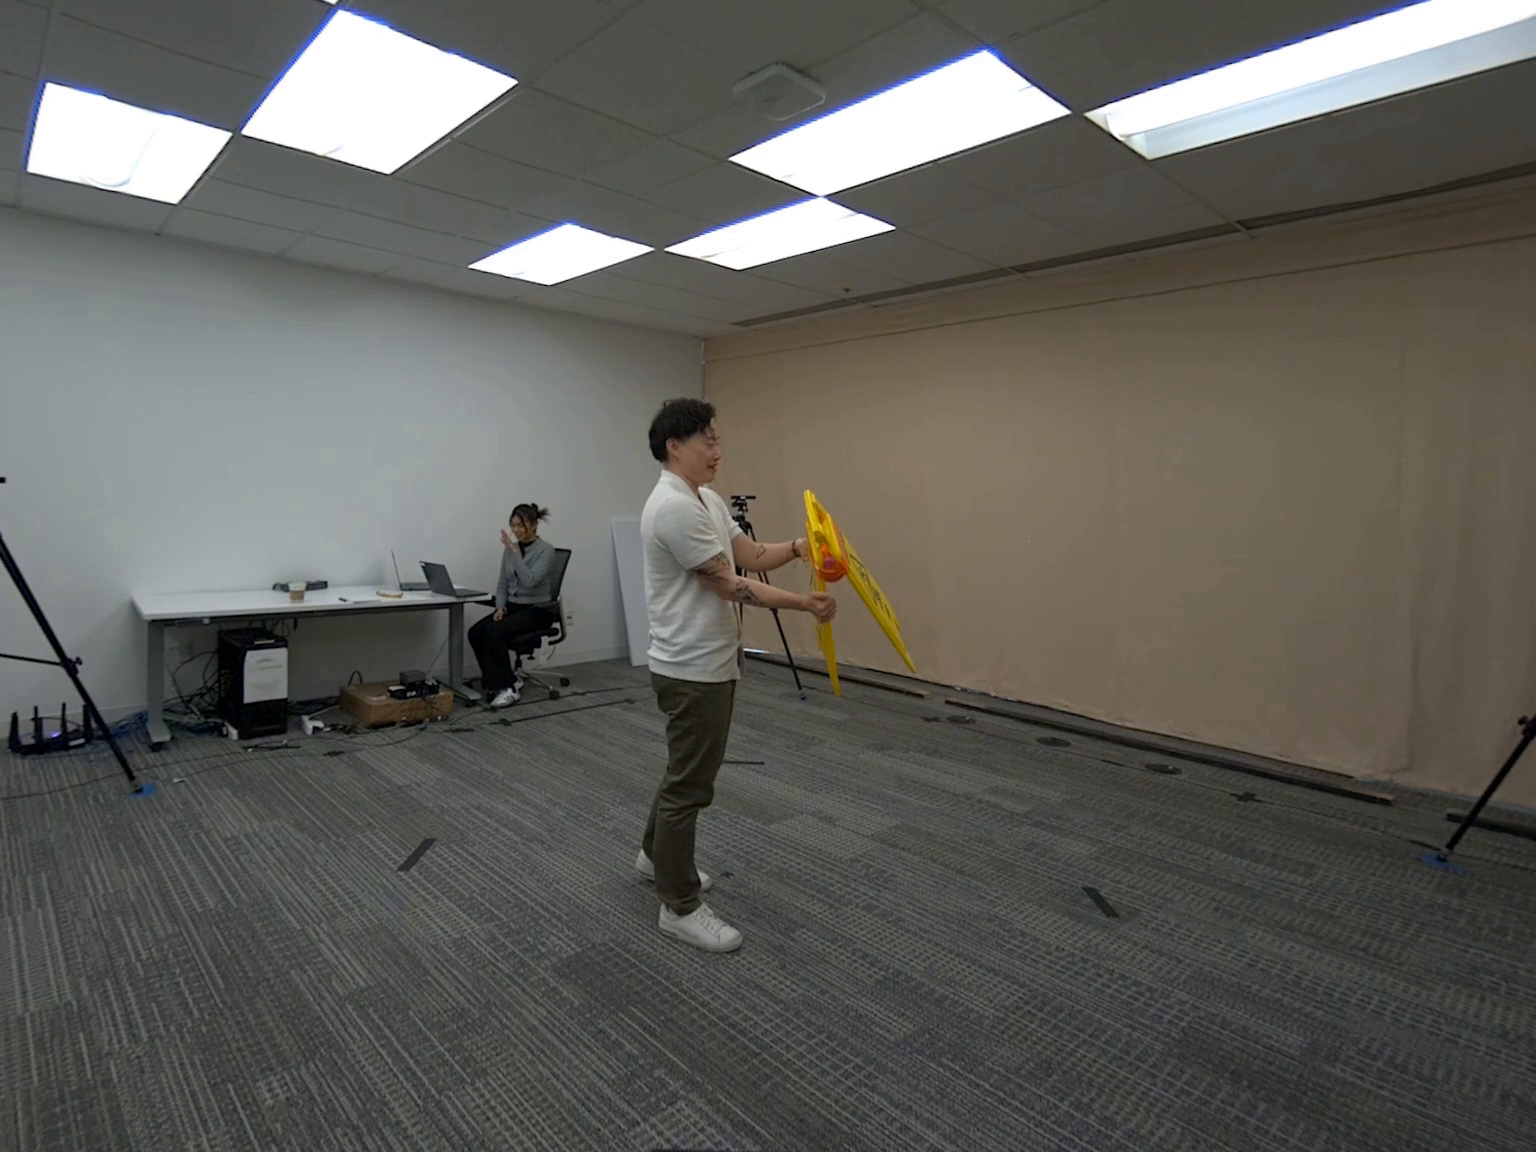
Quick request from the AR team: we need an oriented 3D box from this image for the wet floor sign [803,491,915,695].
[{"bbox_3d":[0.213,0.028,2.579,0.291,0.628,0.289,-19,38,6],"label":"wet floor sign"}]
